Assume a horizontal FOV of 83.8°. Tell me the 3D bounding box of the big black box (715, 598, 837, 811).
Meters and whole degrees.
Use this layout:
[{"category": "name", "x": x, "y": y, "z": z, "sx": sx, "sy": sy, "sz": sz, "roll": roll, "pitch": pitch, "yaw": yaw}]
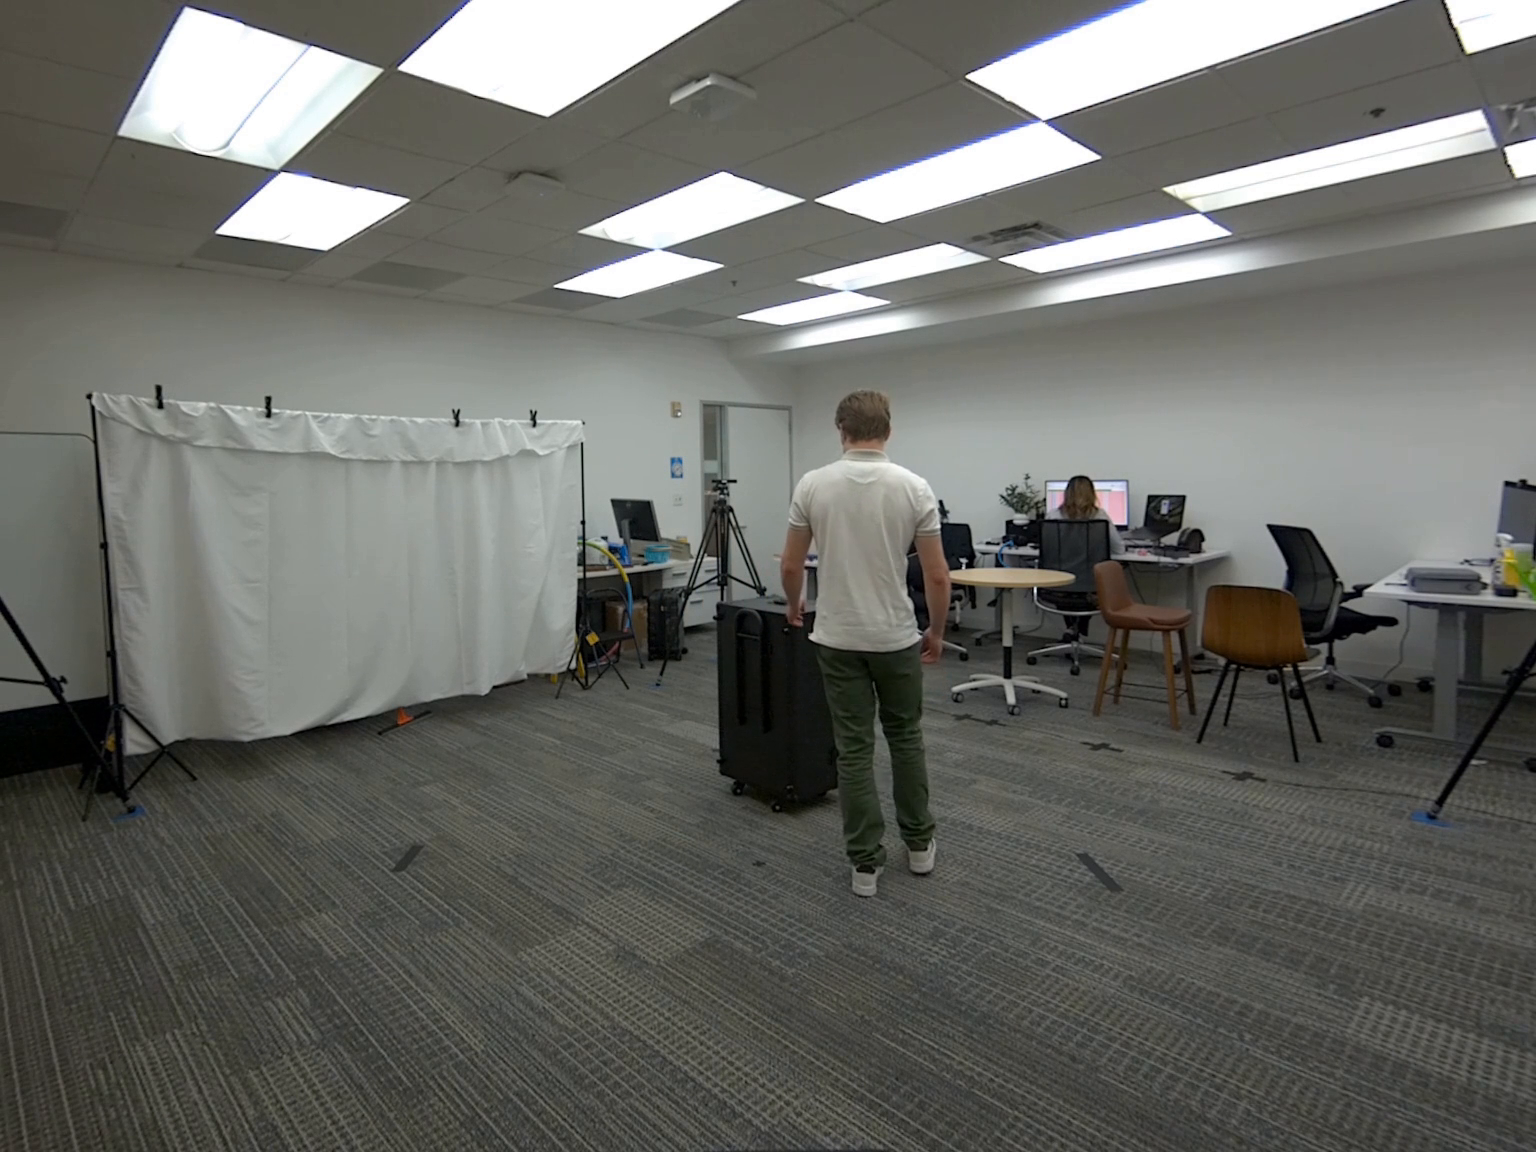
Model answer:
[{"category": "big black box", "x": 0.067, "y": 0.553, "z": 3.762, "sx": 0.375, "sy": 0.865, "sz": 0.539, "roll": -5, "pitch": 6, "yaw": -42}]
